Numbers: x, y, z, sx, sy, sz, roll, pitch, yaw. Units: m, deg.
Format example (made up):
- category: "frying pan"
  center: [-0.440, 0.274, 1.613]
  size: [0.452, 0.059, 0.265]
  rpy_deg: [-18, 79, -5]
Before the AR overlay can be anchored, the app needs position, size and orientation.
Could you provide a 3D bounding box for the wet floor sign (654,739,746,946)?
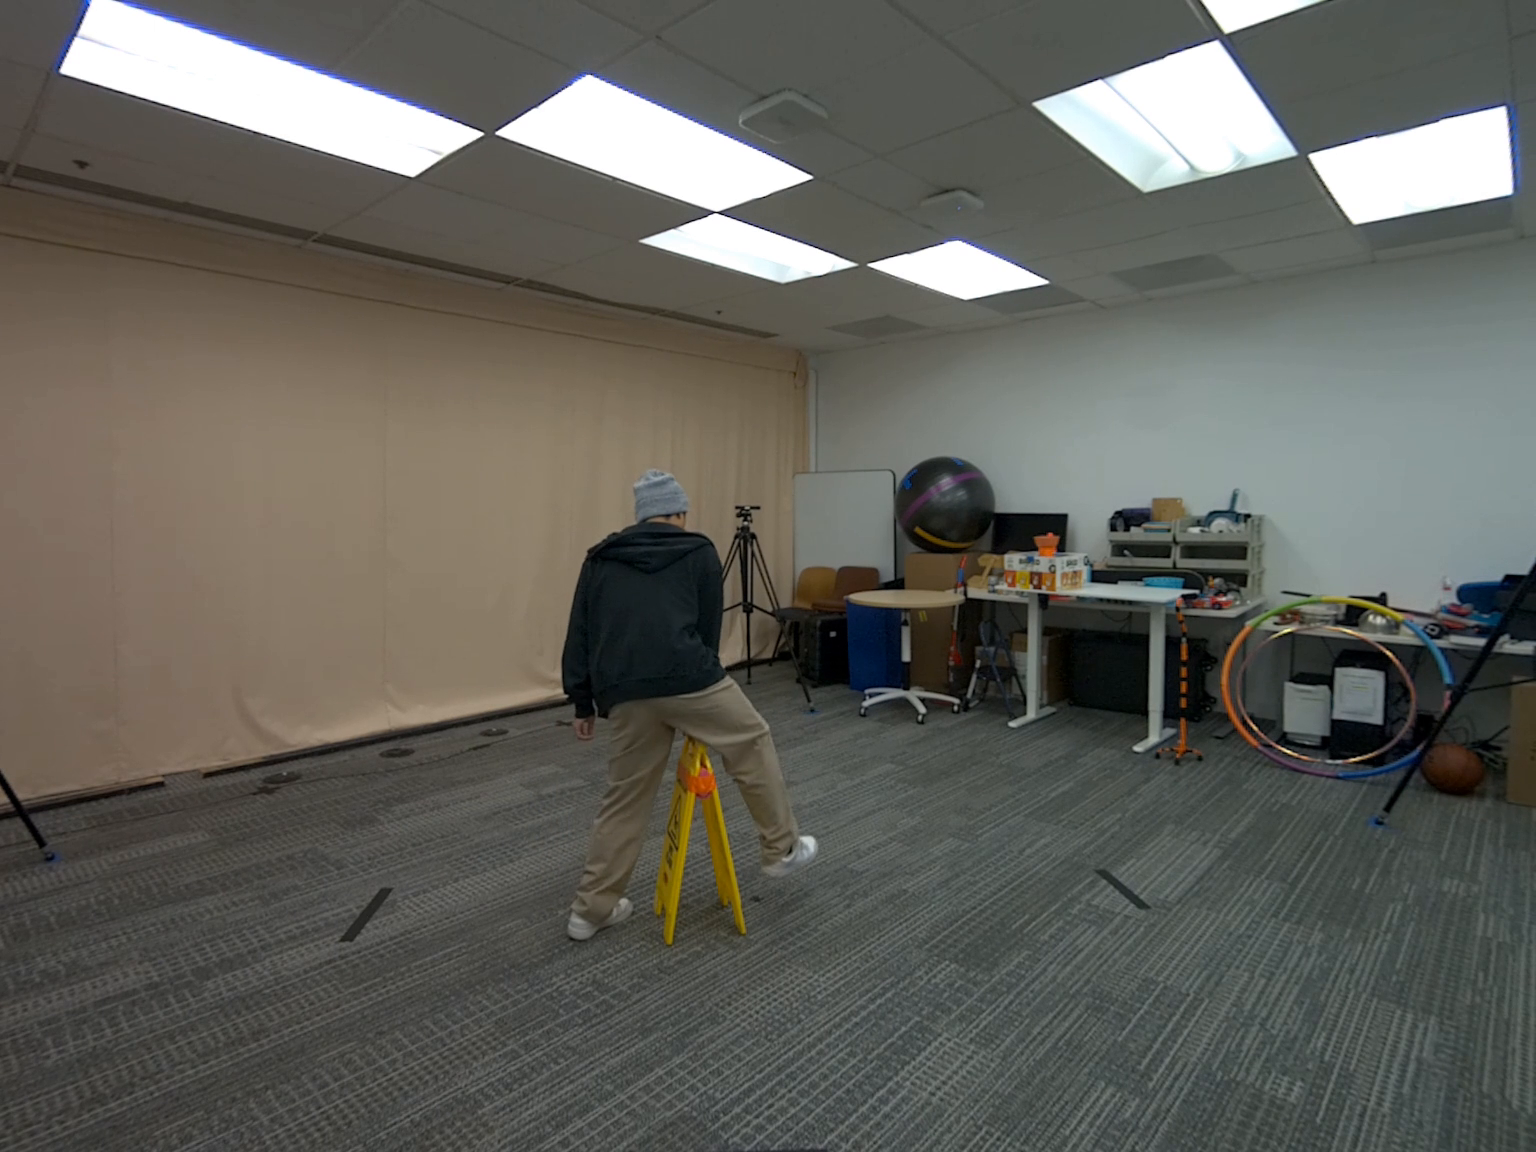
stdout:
- category: "wet floor sign"
  center: [-0.239, 0.836, 2.811]
  size: [0.285, 0.645, 0.287]
  rpy_deg: [-1, 2, -16]
